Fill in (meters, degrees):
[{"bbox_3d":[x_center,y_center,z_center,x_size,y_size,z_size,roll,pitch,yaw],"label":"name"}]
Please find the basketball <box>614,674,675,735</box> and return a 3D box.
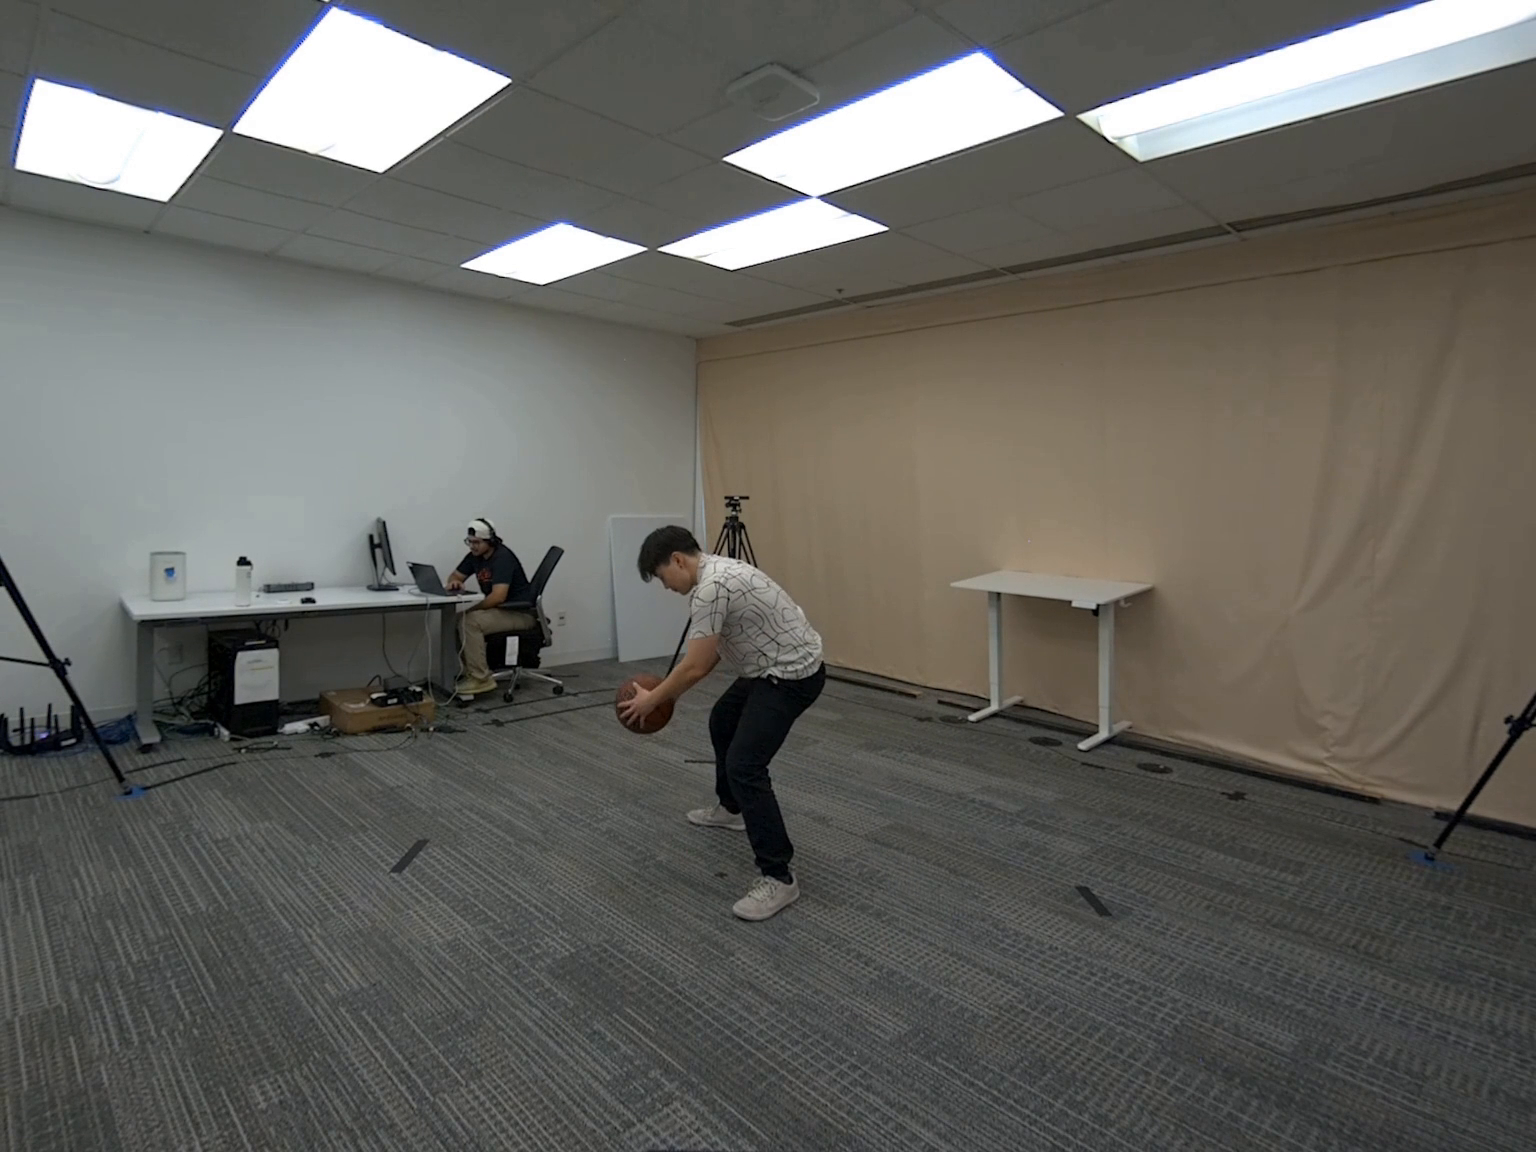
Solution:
[{"bbox_3d":[-0.492,0.501,3.355,0.236,0.235,0.237,1,4,-1],"label":"basketball"}]
